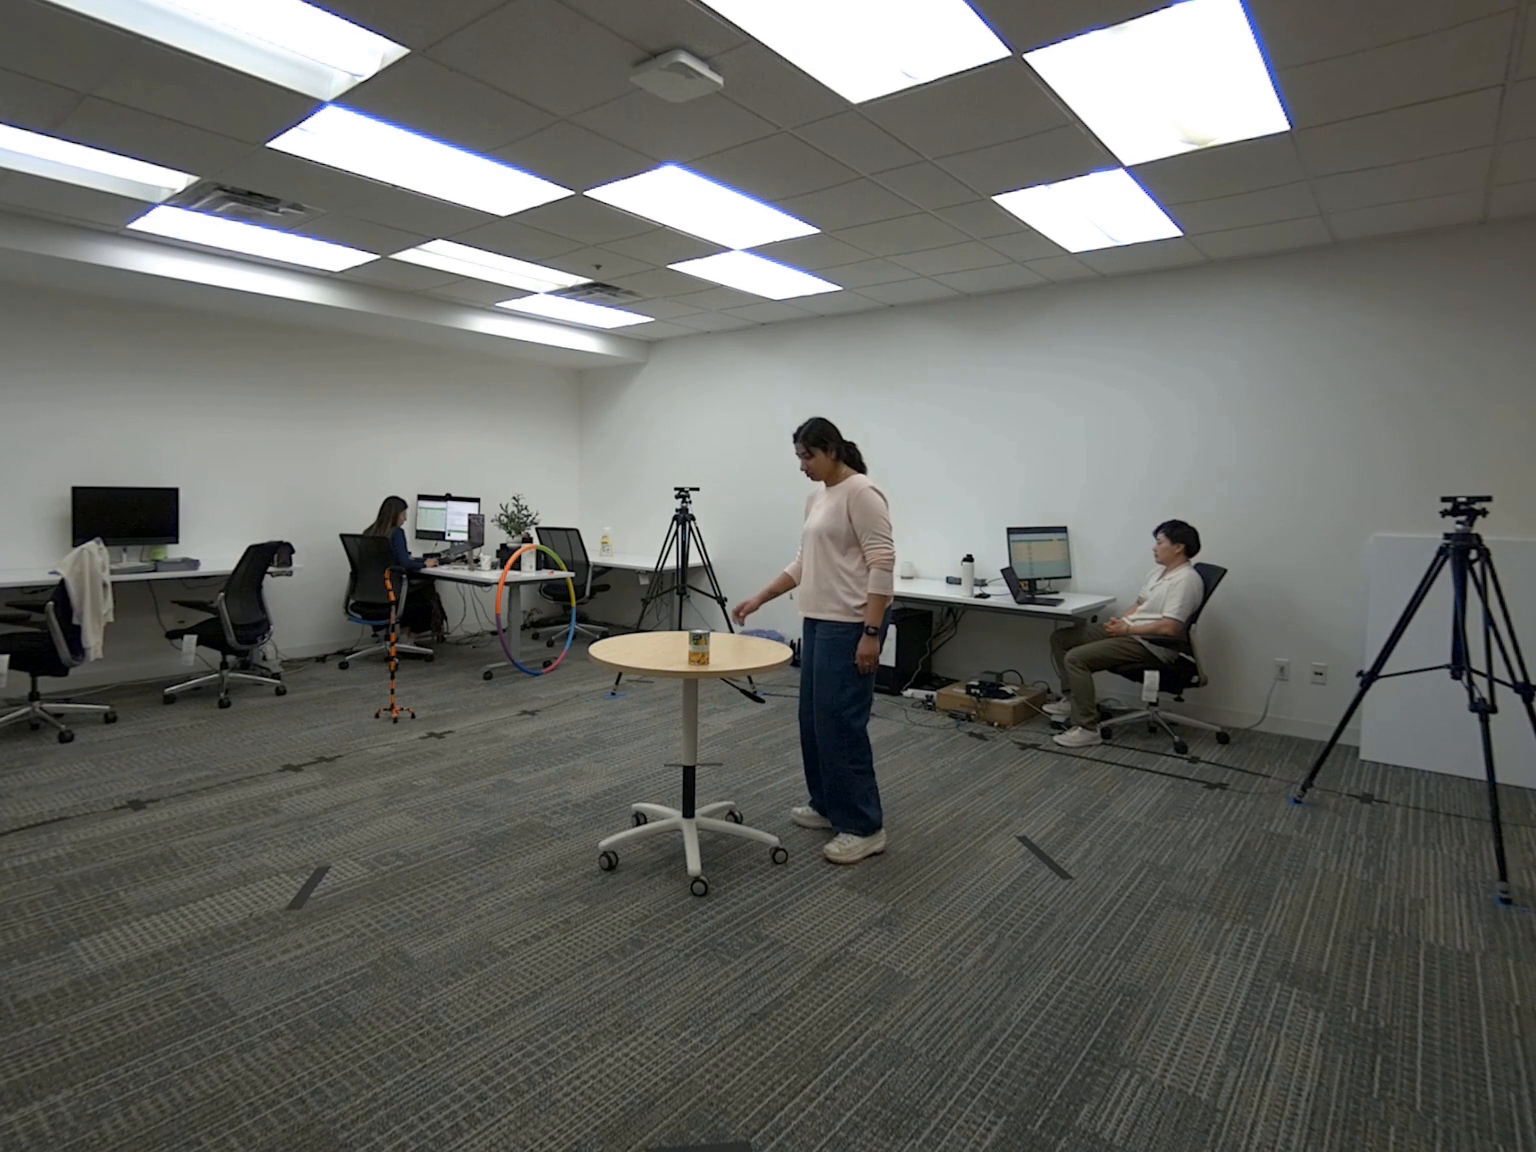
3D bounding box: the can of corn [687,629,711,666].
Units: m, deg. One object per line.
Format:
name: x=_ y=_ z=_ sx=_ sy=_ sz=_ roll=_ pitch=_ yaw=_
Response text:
can of corn: x=-0.248 y=0.248 z=2.943 sx=0.074 sy=0.111 sz=0.074 roll=2 pitch=4 yaw=-2
